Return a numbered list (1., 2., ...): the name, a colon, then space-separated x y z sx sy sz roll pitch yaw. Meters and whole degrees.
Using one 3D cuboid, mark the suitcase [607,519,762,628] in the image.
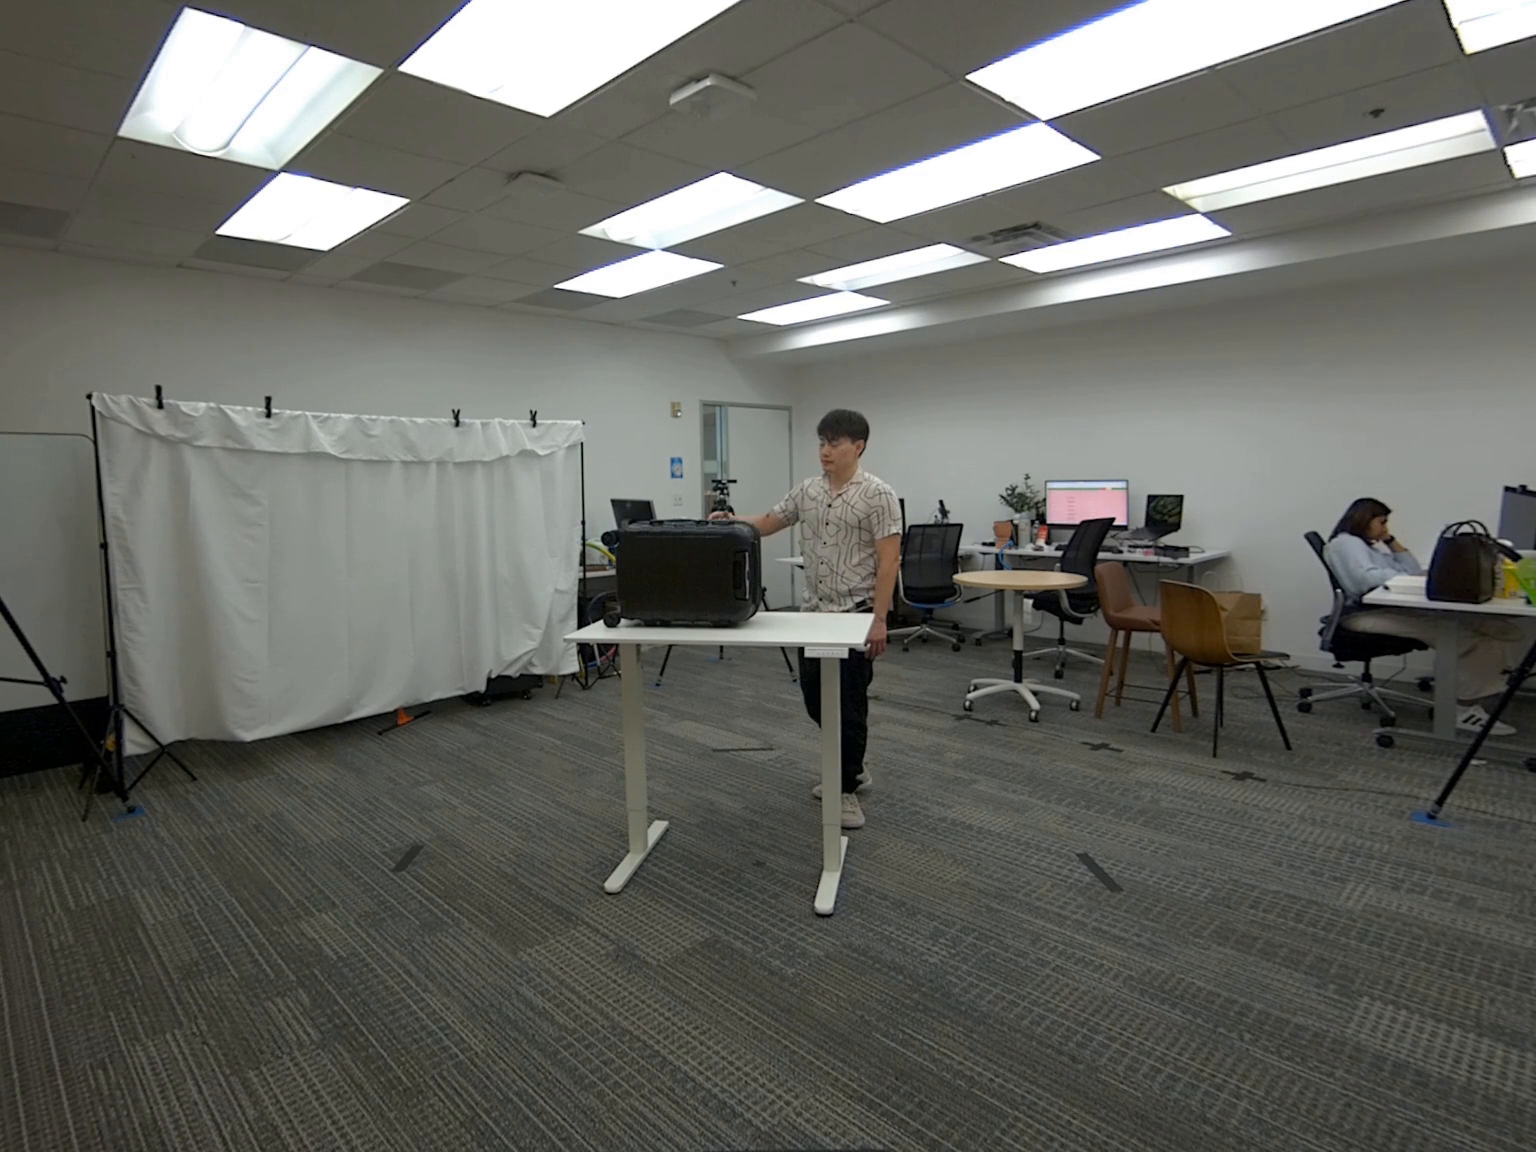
1. suitcase: -0.294 -0.019 3.077 0.557 0.374 0.246 -1 4 14
